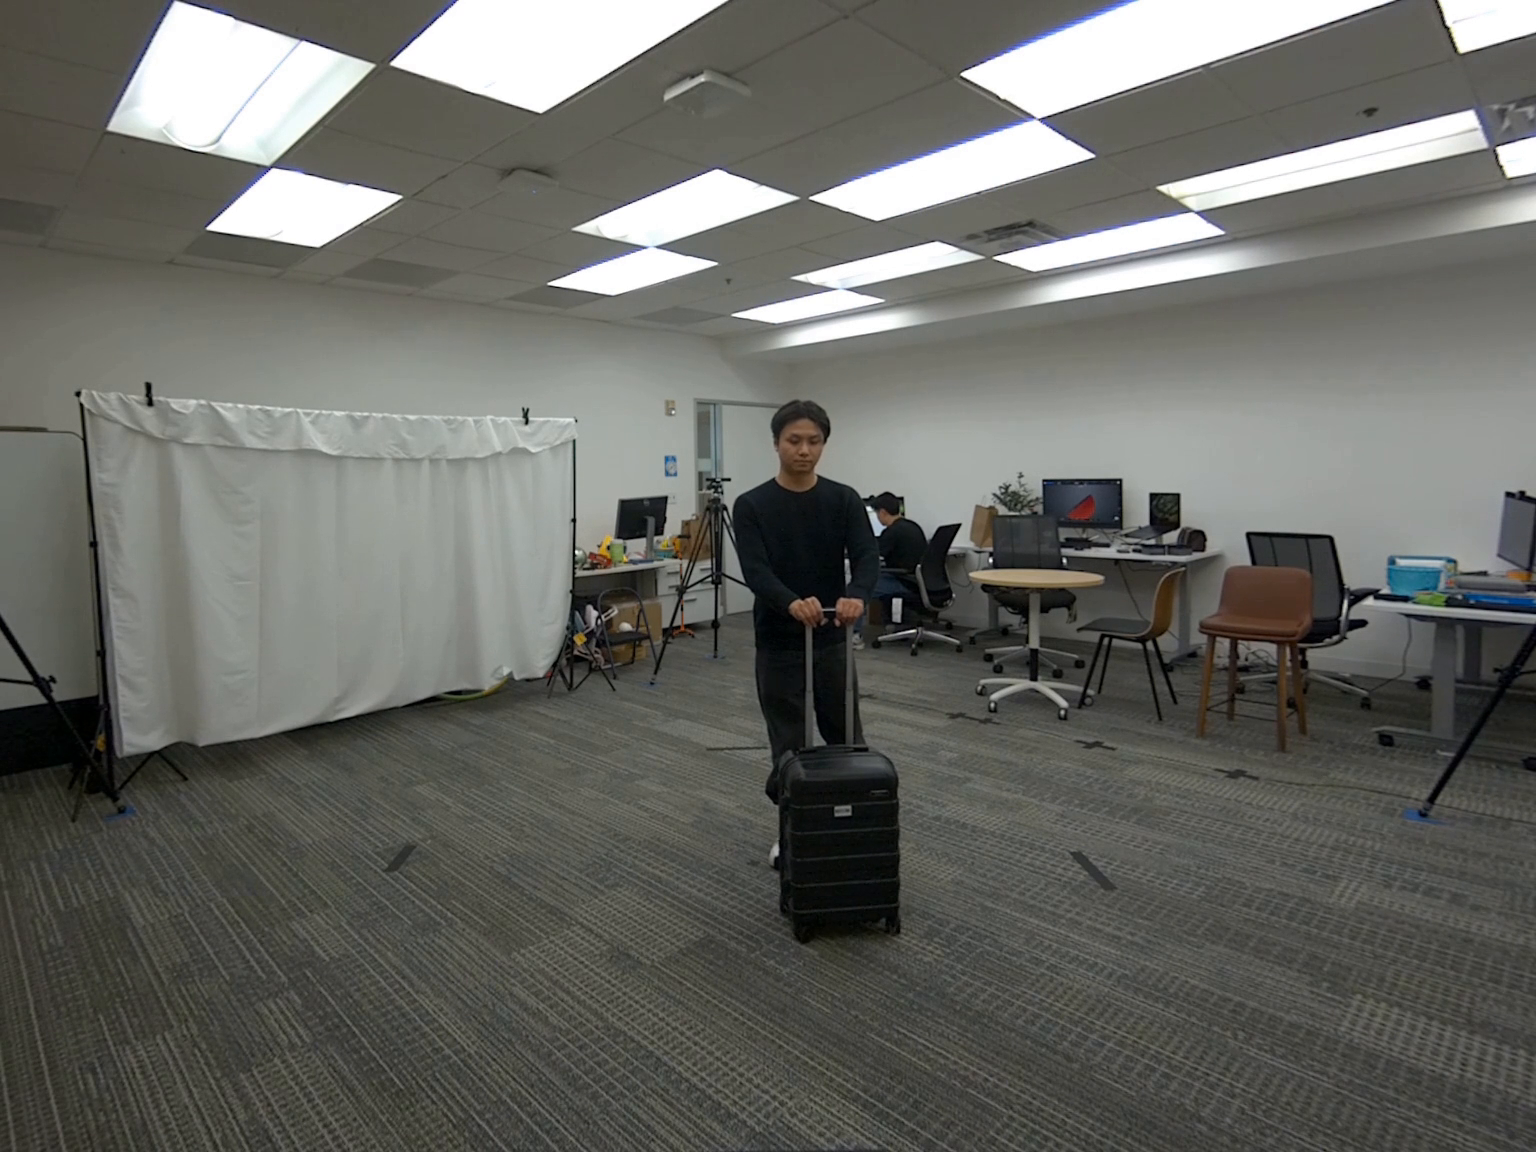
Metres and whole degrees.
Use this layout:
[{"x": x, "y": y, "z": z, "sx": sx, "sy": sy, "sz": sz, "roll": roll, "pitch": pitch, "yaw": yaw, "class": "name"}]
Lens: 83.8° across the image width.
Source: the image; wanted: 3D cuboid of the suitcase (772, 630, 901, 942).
[{"x": 0.215, "y": 0.619, "z": 2.646, "sx": 0.382, "sy": 0.972, "sz": 0.260, "roll": -2, "pitch": 7, "yaw": -5, "class": "suitcase"}]
